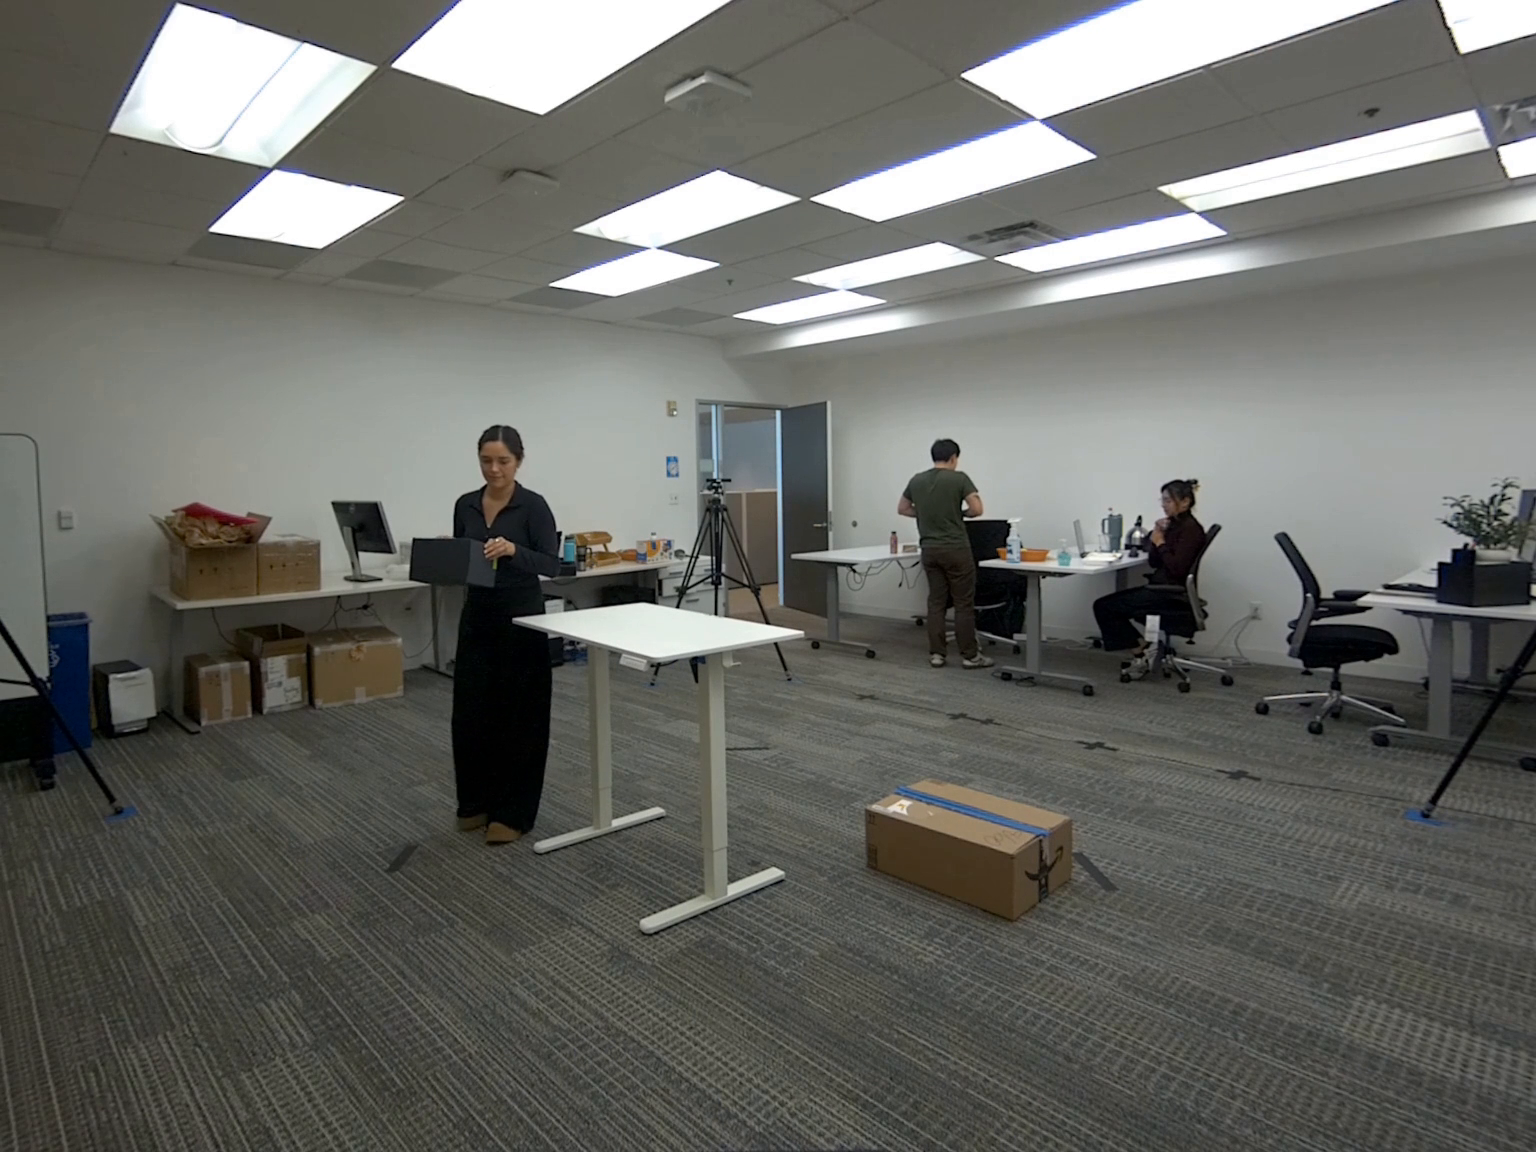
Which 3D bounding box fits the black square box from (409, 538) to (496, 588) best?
[{"bbox_3d":[-1.141,-0.045,3.116,0.230,0.157,0.213,1,-7,11],"label":"black square box"}]
